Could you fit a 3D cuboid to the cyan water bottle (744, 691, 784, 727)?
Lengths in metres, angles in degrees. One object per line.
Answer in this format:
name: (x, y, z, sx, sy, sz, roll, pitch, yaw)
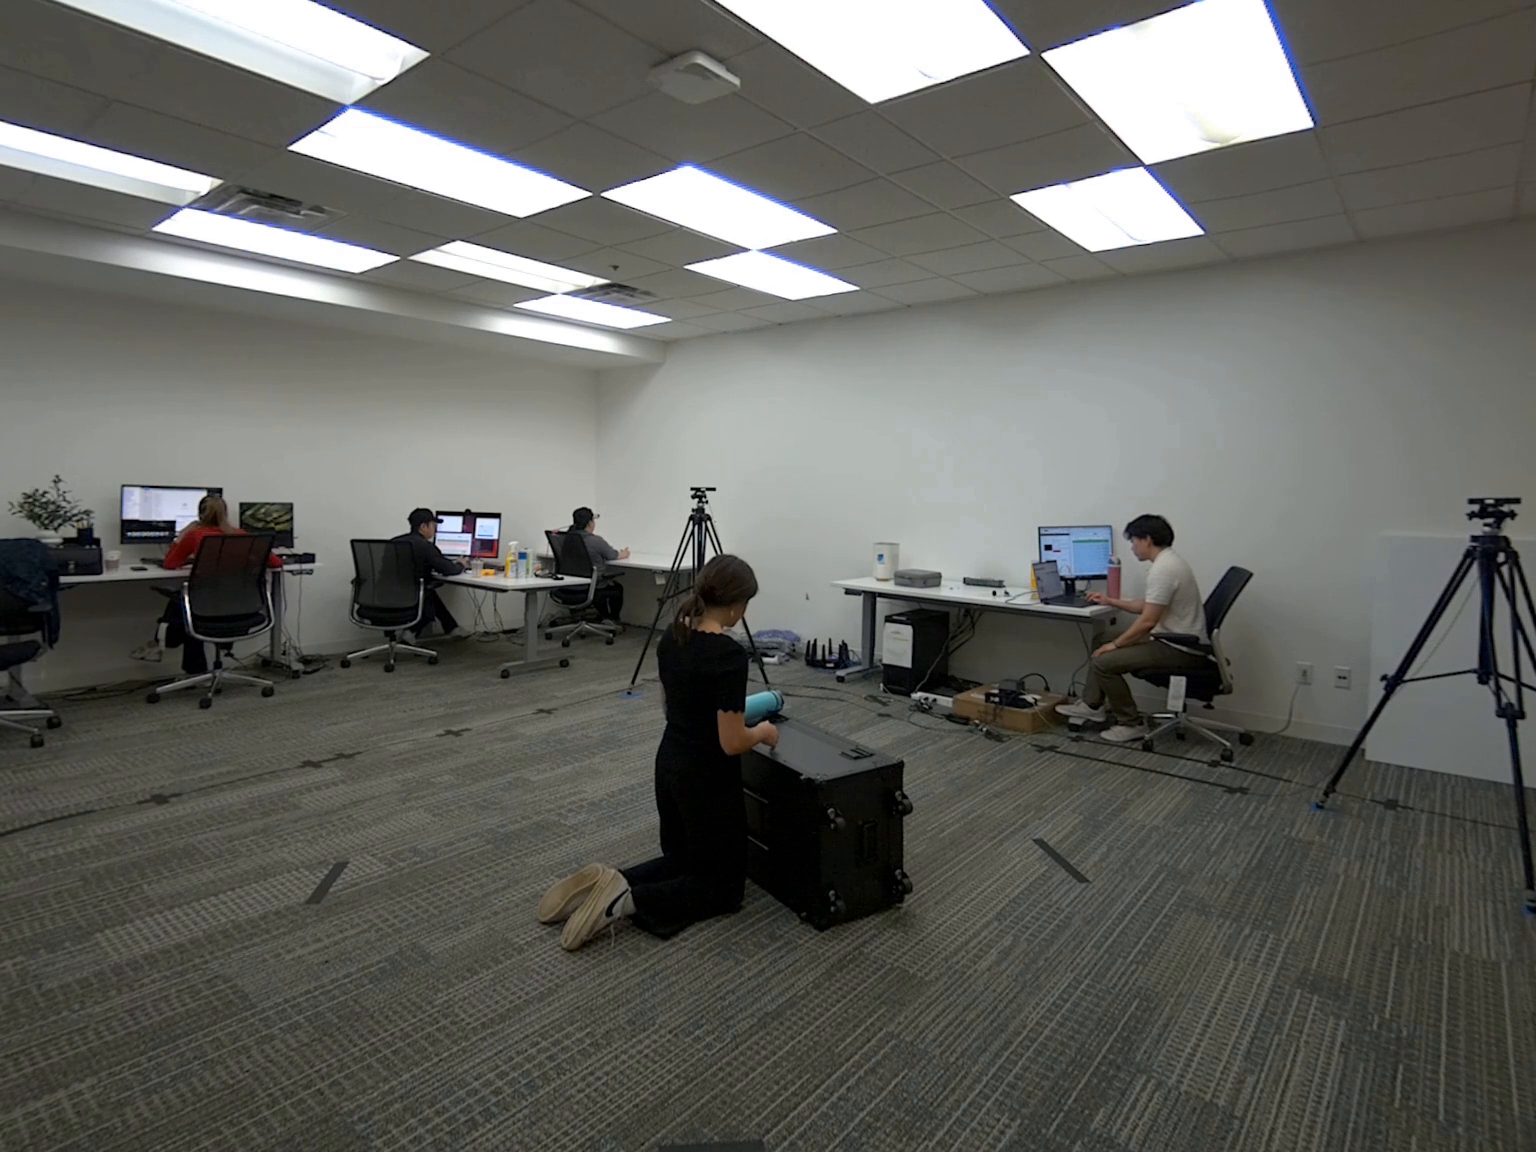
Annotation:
cyan water bottle: (-0.060, 0.507, 3.310, 0.276, 0.091, 0.095, -10, 10, -37)
